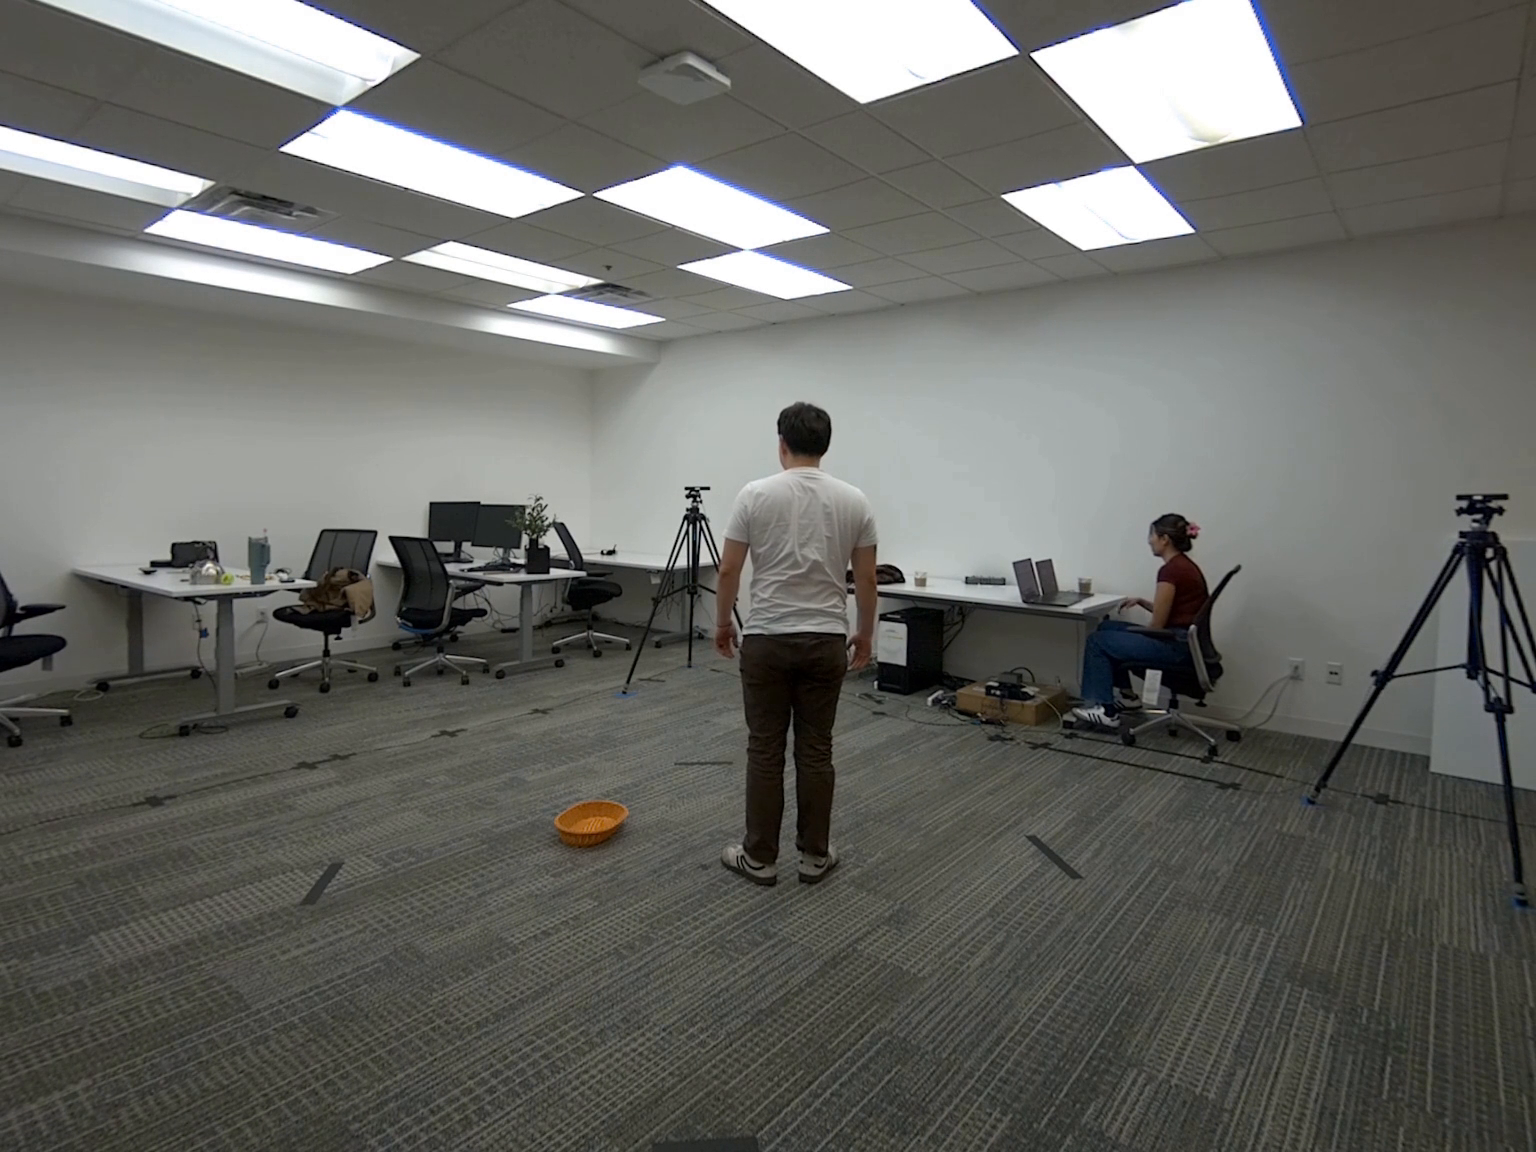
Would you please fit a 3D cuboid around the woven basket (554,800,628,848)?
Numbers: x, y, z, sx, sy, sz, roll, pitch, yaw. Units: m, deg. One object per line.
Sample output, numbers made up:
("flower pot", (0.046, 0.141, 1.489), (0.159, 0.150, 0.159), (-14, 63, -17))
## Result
("woven basket", (-0.717, 0.991, 3.408), (0.258, 0.073, 0.344), (5, 6, 20))
